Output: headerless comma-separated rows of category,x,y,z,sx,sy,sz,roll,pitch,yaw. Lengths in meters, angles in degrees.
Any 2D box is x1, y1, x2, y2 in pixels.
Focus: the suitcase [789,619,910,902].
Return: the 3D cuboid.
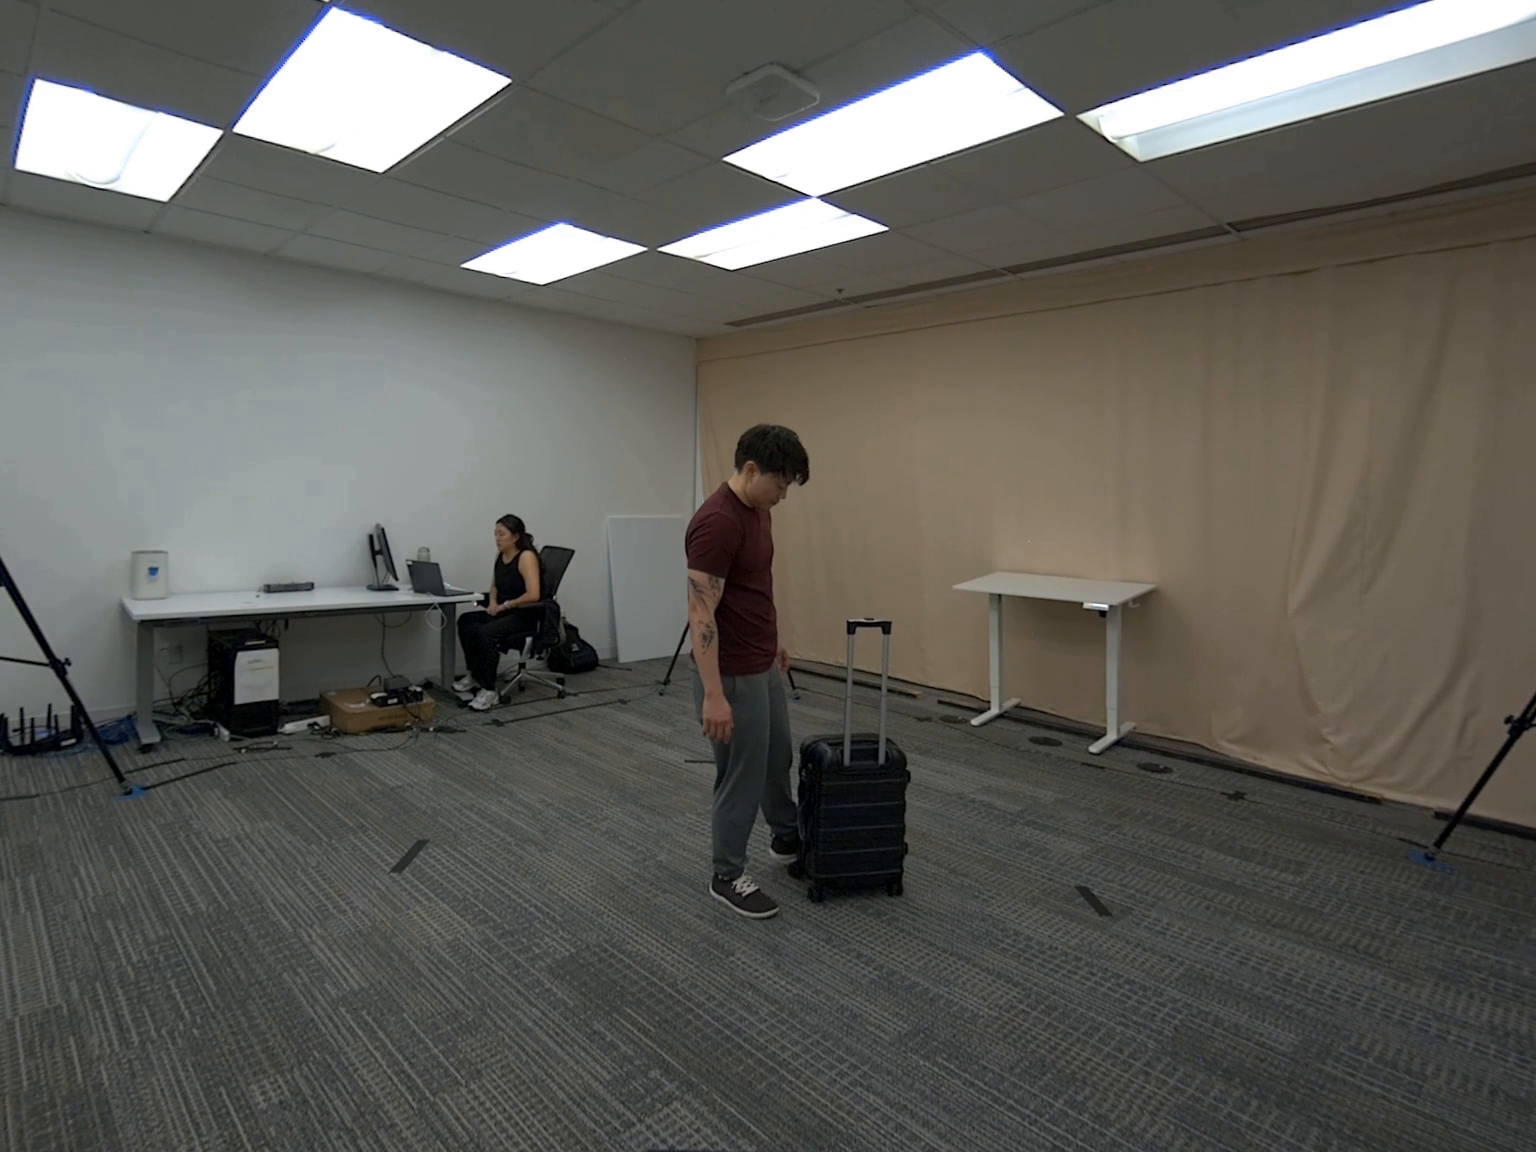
suitcase,0.300,0.643,3.007,0.380,0.978,0.259,2,1,-11
